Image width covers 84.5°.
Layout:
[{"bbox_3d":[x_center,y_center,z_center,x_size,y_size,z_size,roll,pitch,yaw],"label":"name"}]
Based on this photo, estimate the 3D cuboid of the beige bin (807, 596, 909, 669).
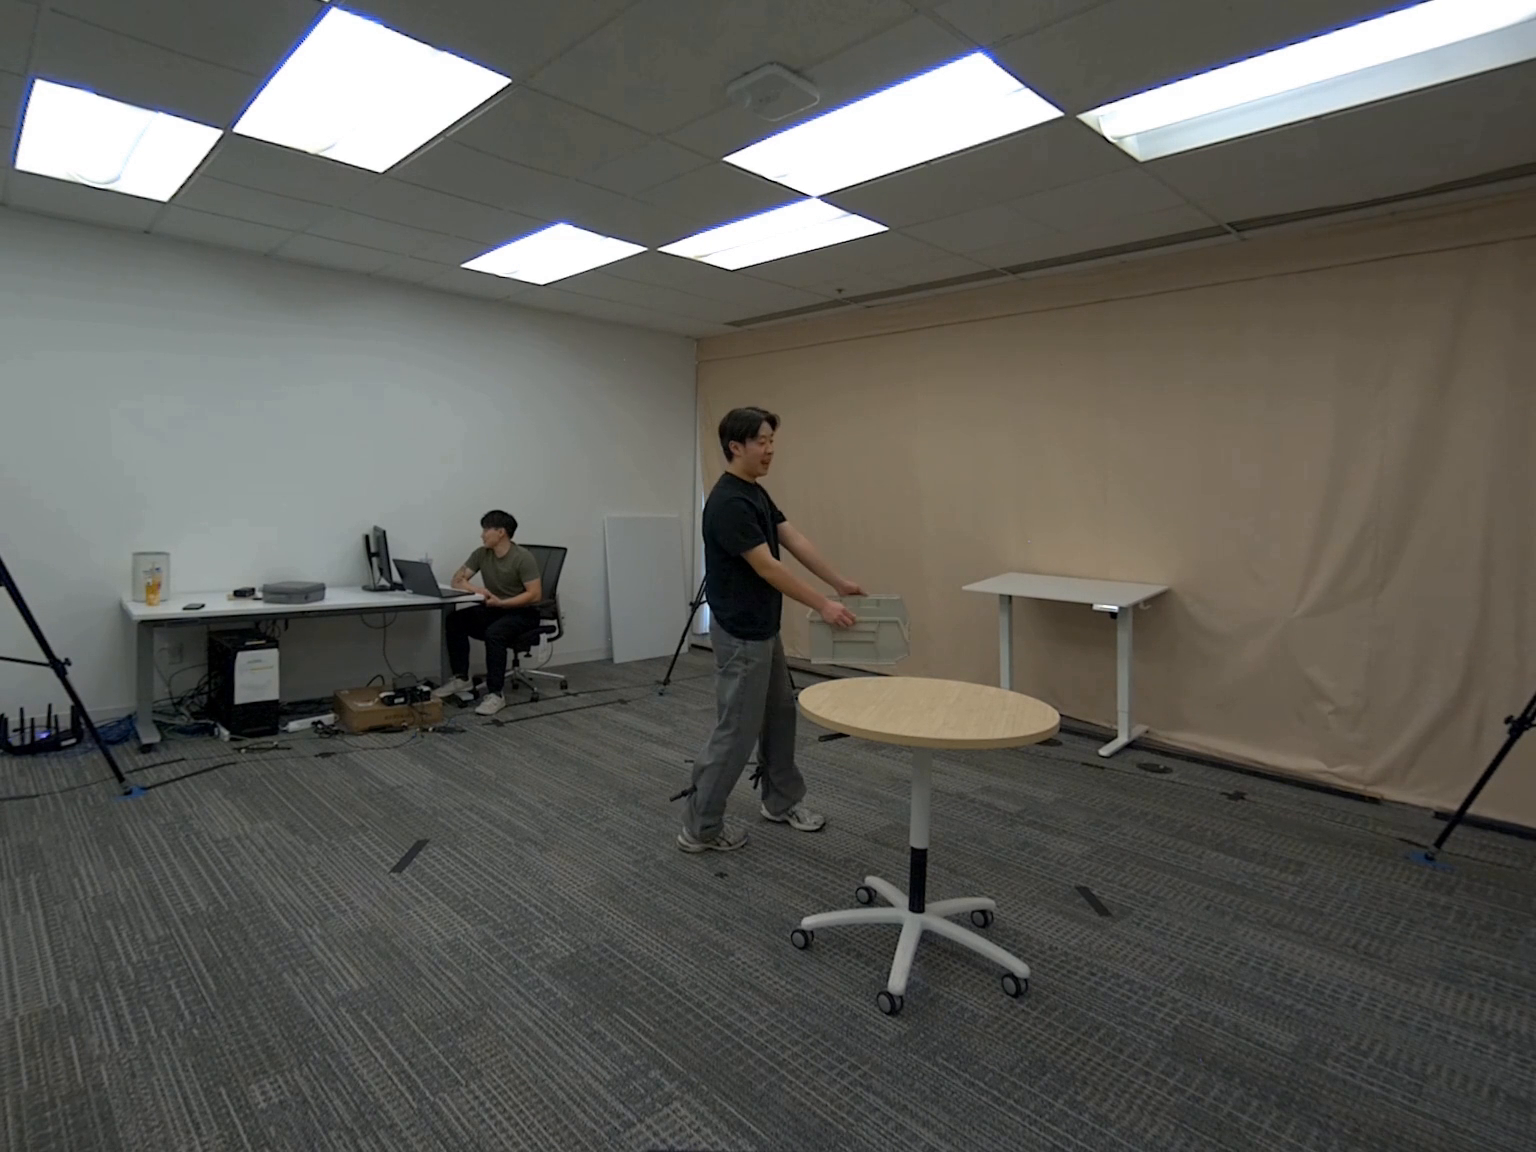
[{"bbox_3d":[0.352,0.206,3.305,0.381,0.188,0.421,-2,9,11],"label":"beige bin"}]
